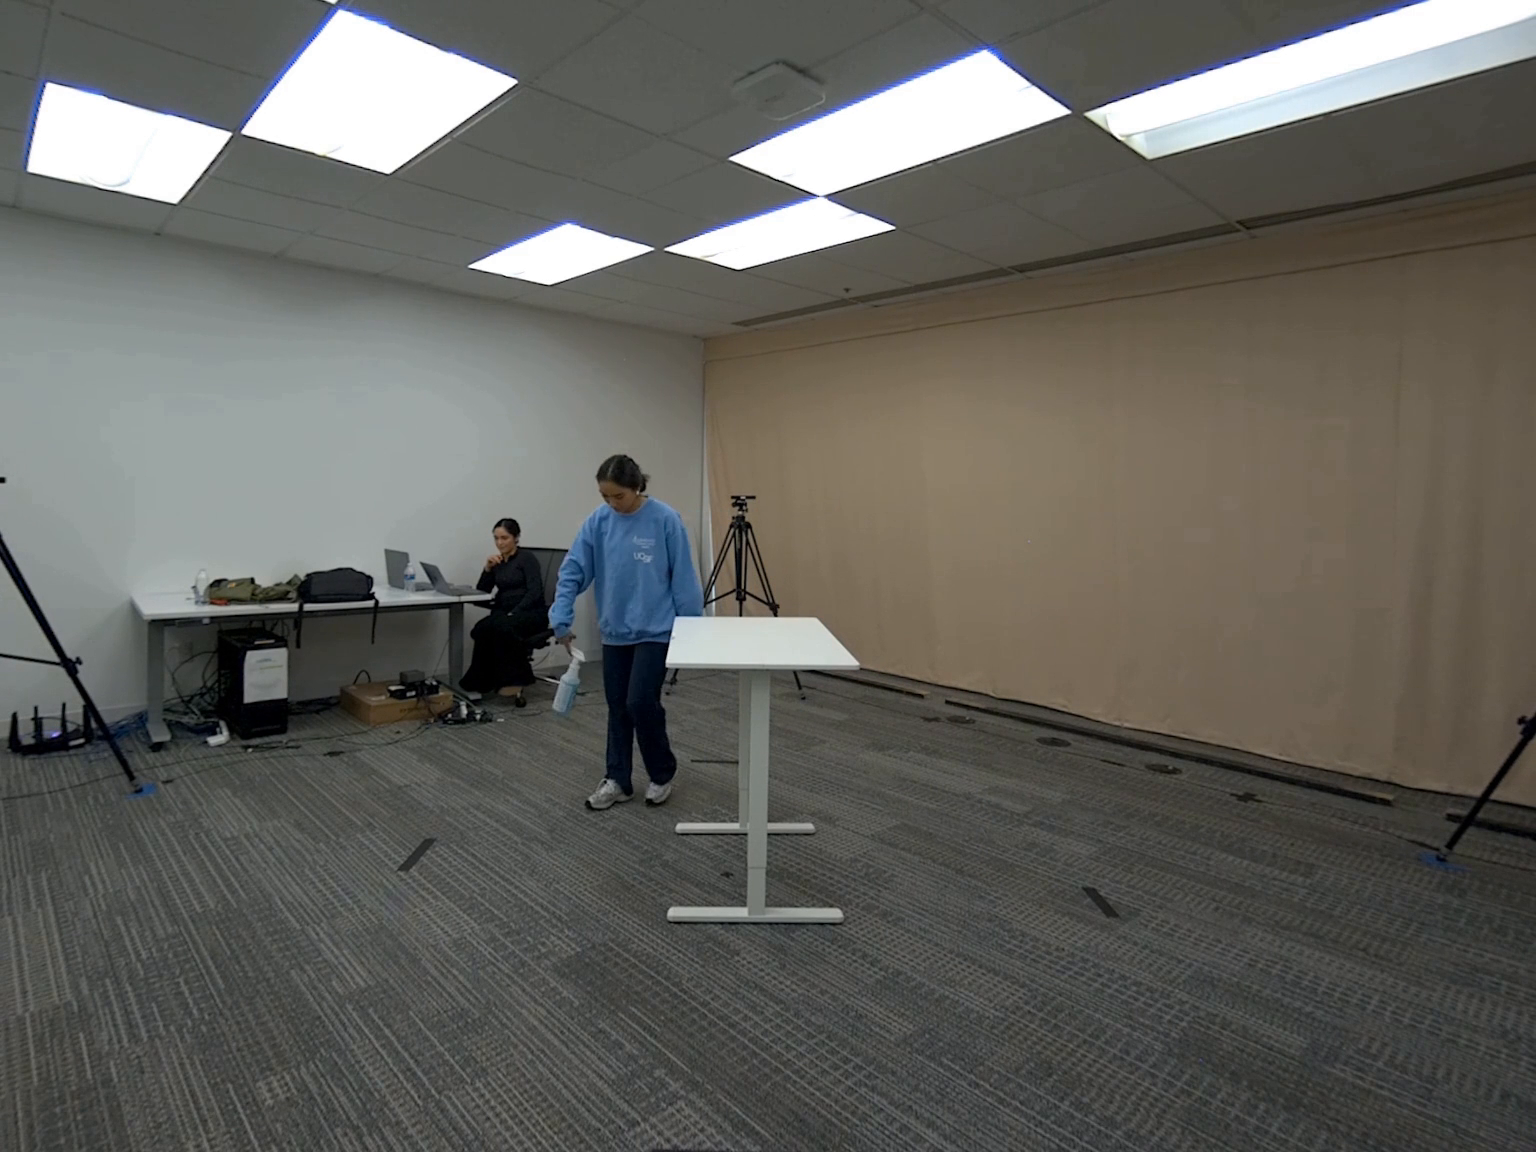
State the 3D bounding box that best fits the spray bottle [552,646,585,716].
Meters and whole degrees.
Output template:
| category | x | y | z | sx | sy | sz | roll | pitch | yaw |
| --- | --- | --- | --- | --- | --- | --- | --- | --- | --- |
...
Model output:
| category | x | y | z | sx | sy | sz | roll | pitch | yaw |
| --- | --- | --- | --- | --- | --- | --- | --- | --- | --- |
| spray bottle | -0.879 | 0.462 | 3.749 | 0.085 | 0.296 | 0.093 | 8 | 13 | -43 |
